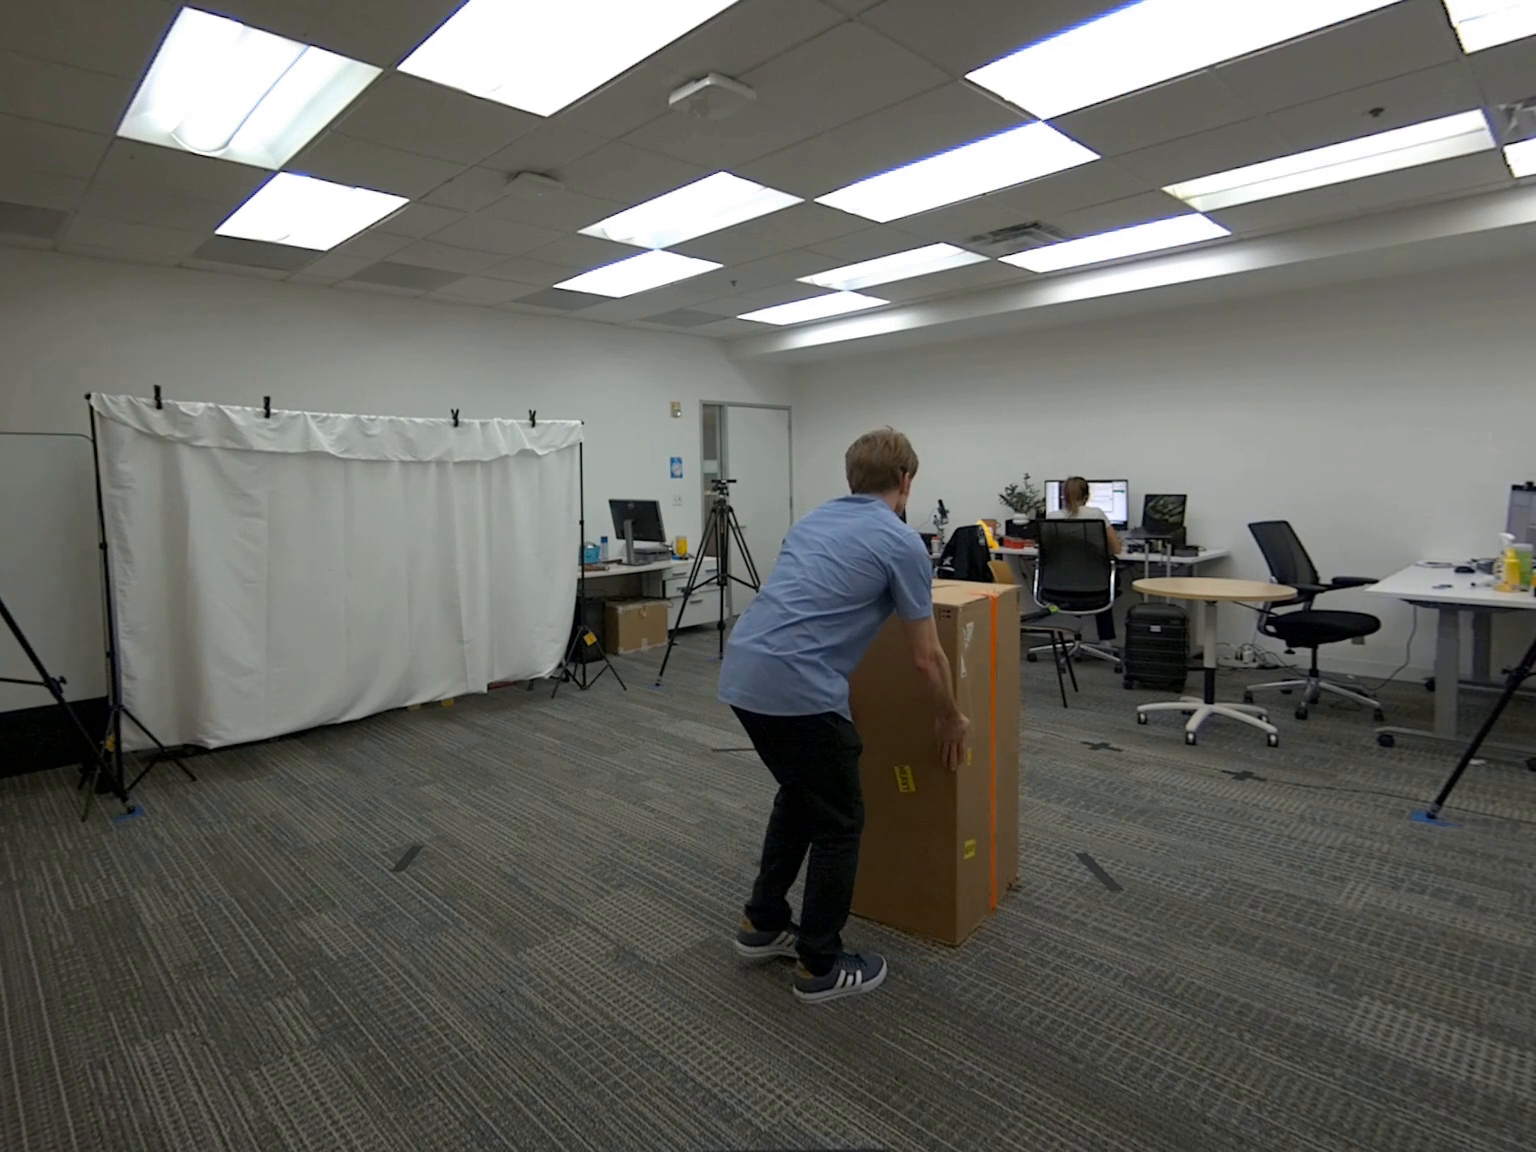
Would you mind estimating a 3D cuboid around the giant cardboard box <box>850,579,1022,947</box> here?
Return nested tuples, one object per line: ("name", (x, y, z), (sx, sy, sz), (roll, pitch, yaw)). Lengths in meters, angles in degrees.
("giant cardboard box", (0.545, 0.557, 2.856), (0.438, 1.023, 0.563), (2, 4, 36))
